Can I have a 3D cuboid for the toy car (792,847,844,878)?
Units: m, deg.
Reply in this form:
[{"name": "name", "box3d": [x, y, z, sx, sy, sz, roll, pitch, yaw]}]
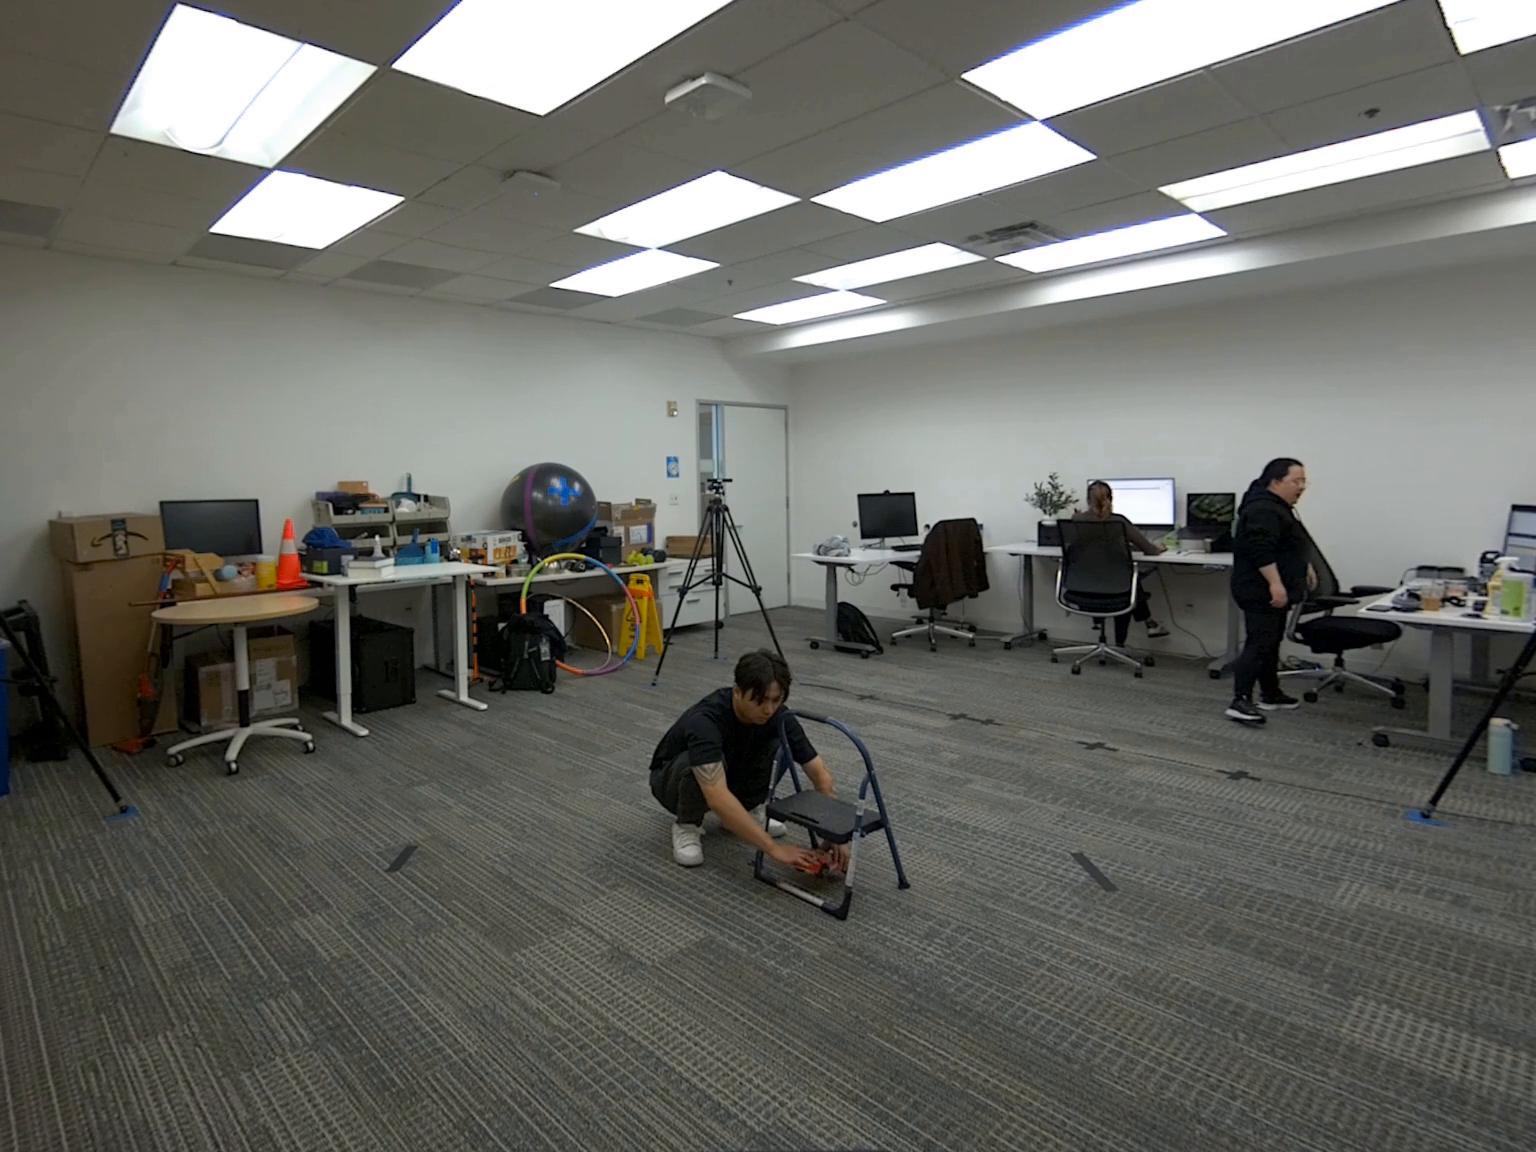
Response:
[{"name": "toy car", "box3d": [0.182, 1.000, 2.933, 0.134, 0.084, 0.245, -1, -21, 42]}]
